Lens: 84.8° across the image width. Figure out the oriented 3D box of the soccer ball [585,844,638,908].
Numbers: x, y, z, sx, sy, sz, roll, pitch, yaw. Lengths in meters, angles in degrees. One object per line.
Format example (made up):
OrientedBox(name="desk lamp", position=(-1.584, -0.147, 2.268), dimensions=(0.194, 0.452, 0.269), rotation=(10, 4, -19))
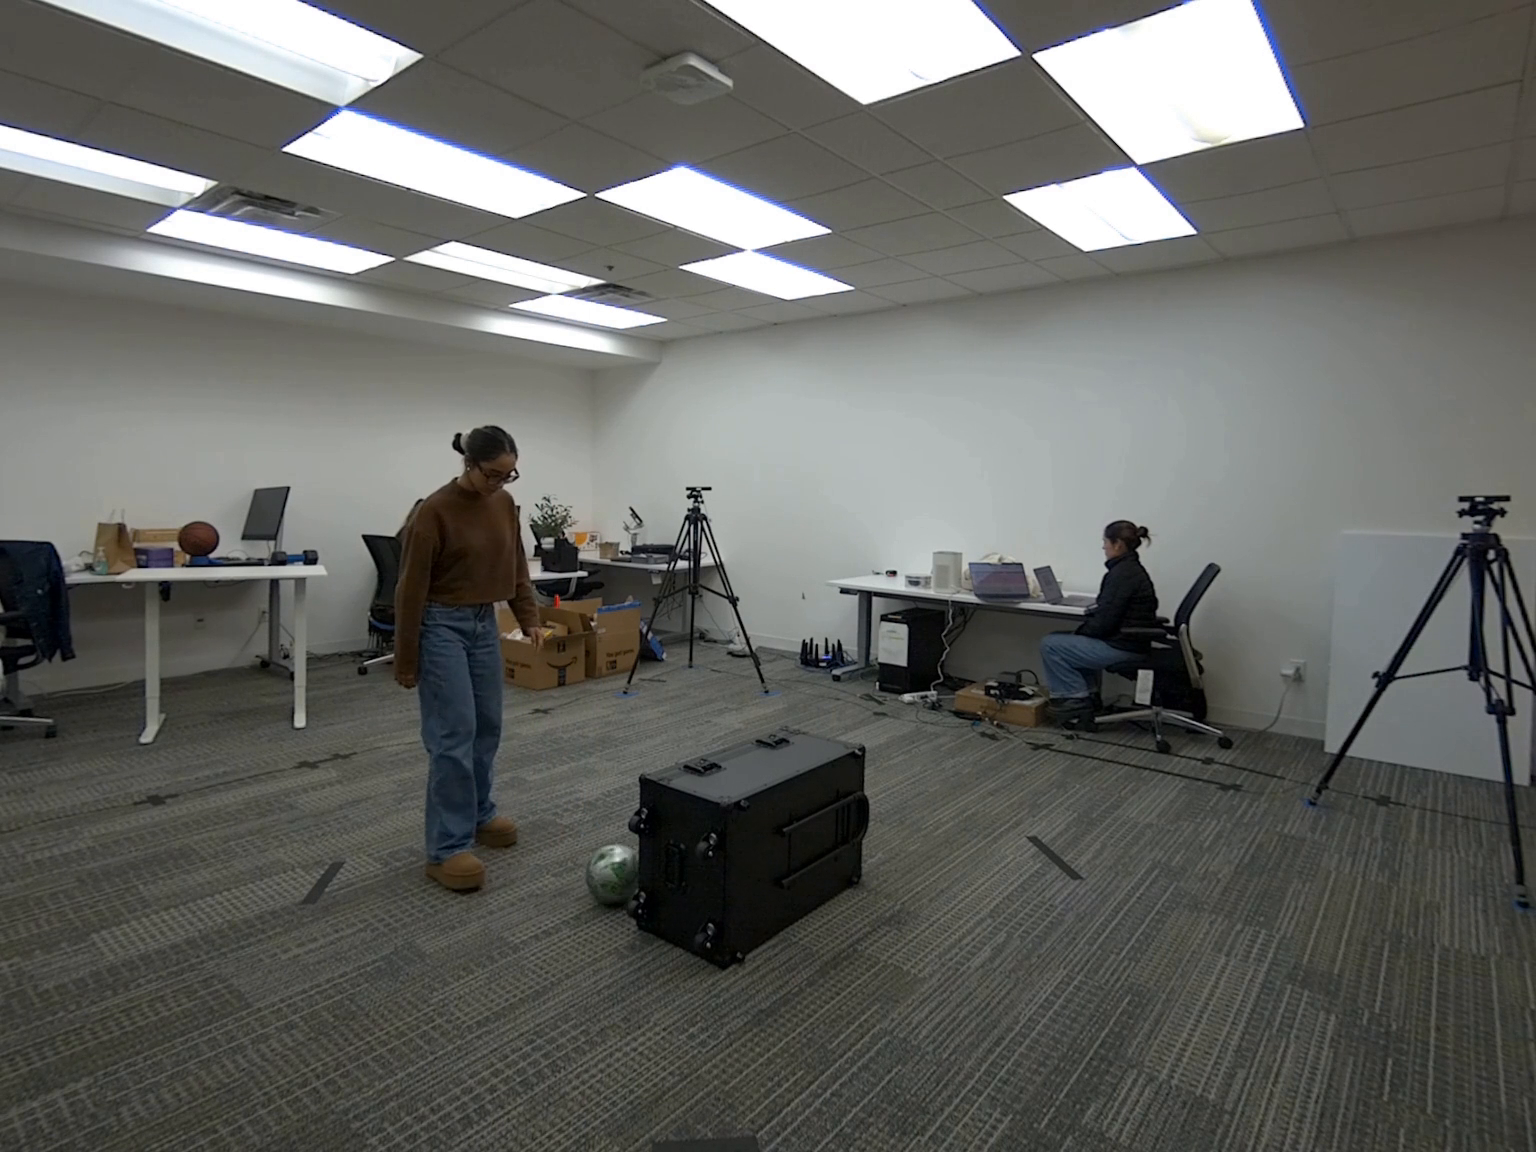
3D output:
OrientedBox(name="soccer ball", position=(-0.535, 0.990, 2.853), dimensions=(0.187, 0.187, 0.188), rotation=(1, 4, -2))
